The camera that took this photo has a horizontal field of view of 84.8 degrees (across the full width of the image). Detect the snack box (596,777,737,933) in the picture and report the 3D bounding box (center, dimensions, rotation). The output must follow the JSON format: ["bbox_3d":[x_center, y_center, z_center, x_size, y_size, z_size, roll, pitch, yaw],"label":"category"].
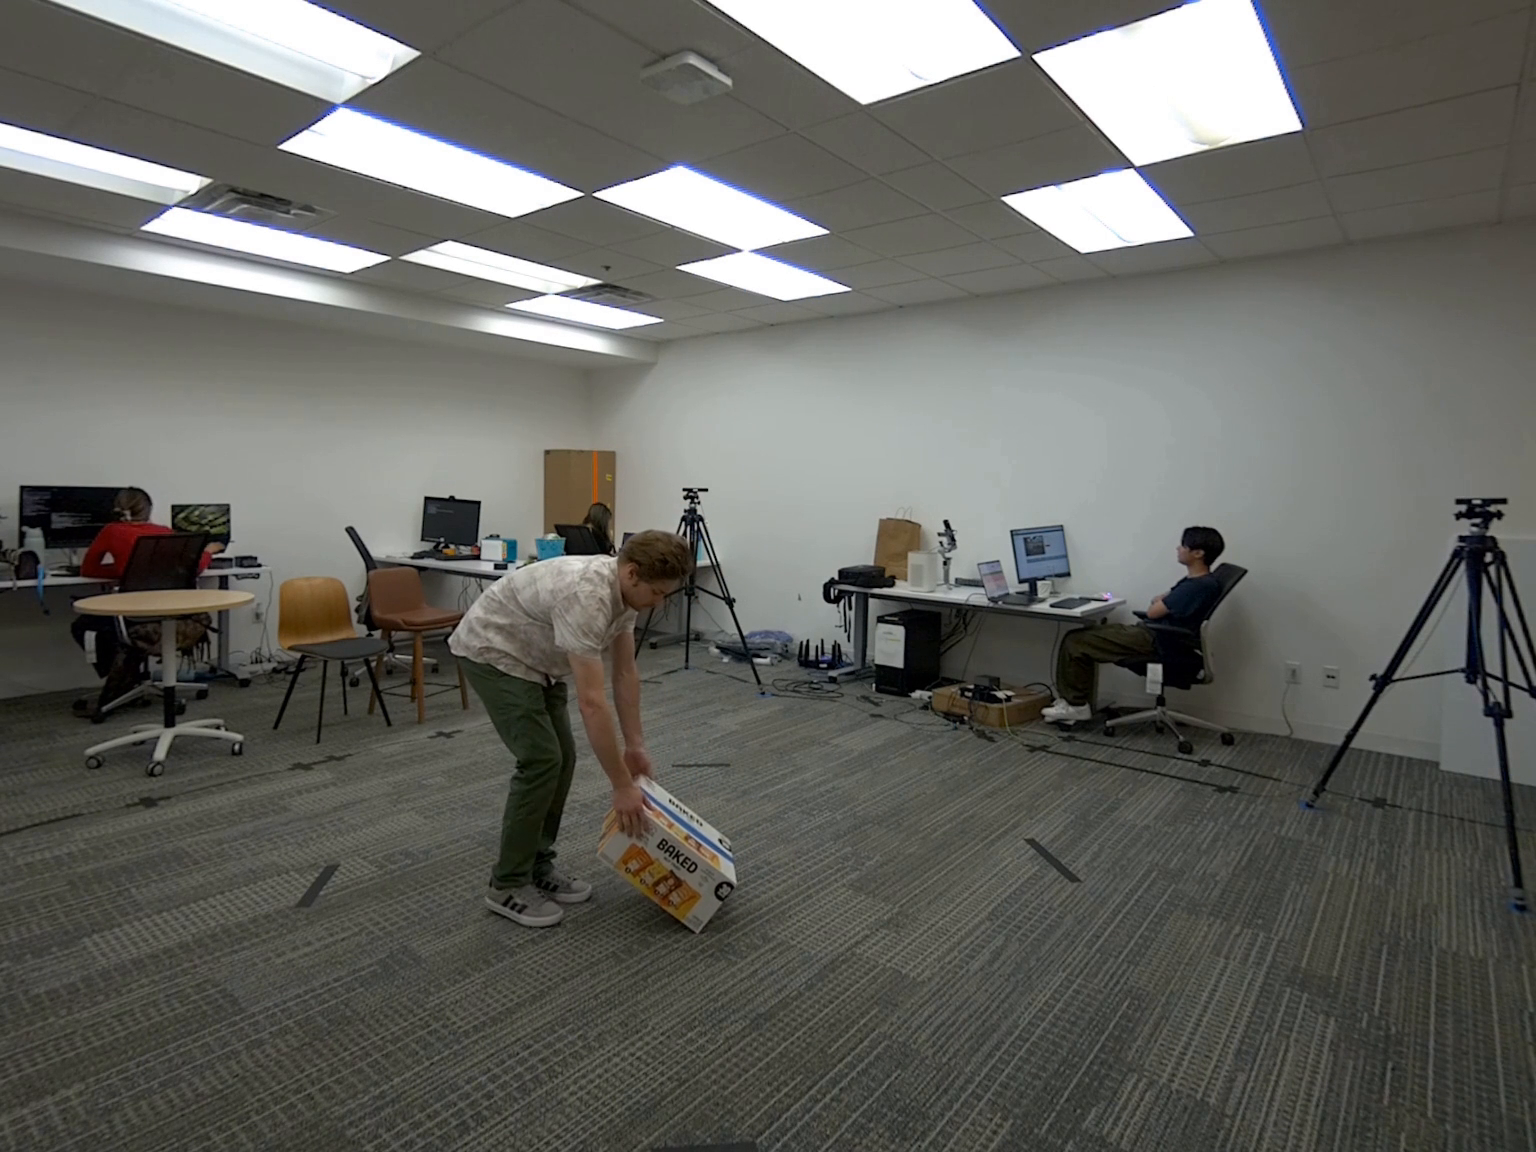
[{"bbox_3d":[-0.343,0.897,2.798,0.402,0.205,0.343,39,1,-6],"label":"snack box"}]
